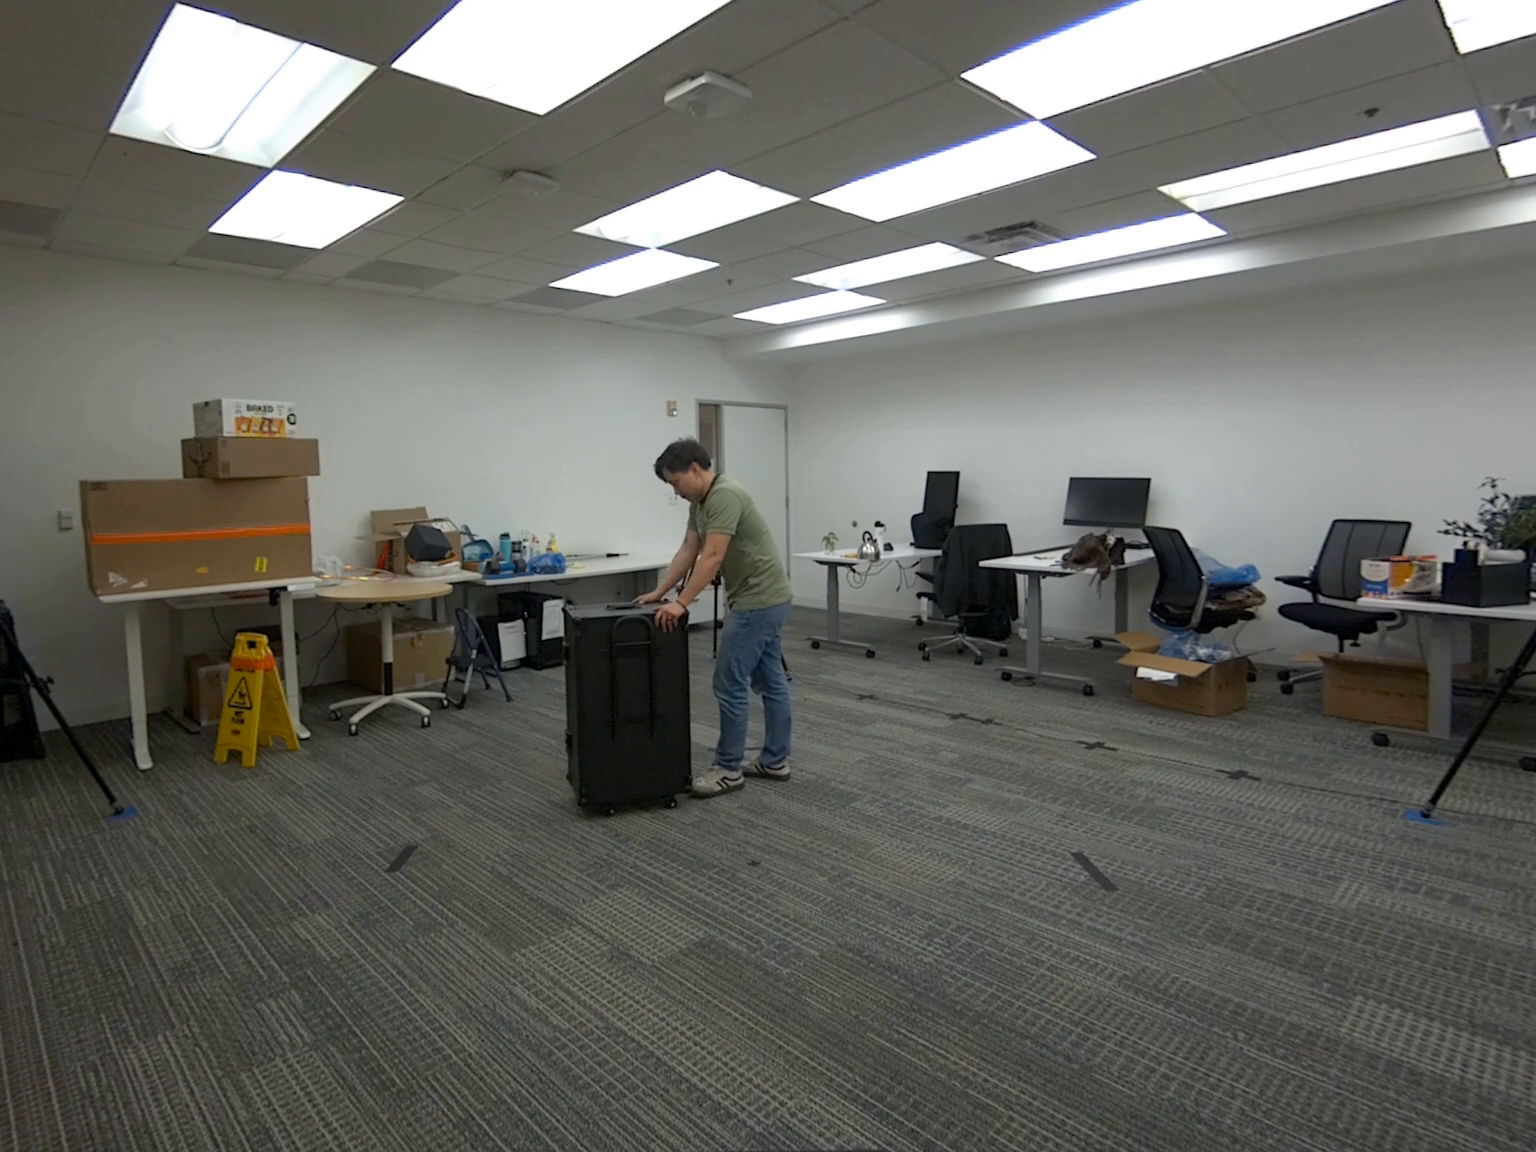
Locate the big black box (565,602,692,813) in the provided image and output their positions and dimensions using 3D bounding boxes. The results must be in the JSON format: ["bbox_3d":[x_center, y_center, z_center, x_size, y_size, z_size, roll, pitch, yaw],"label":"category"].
[{"bbox_3d":[-0.609,0.564,3.697,0.513,0.858,0.405,-2,5,-19],"label":"big black box"}]
